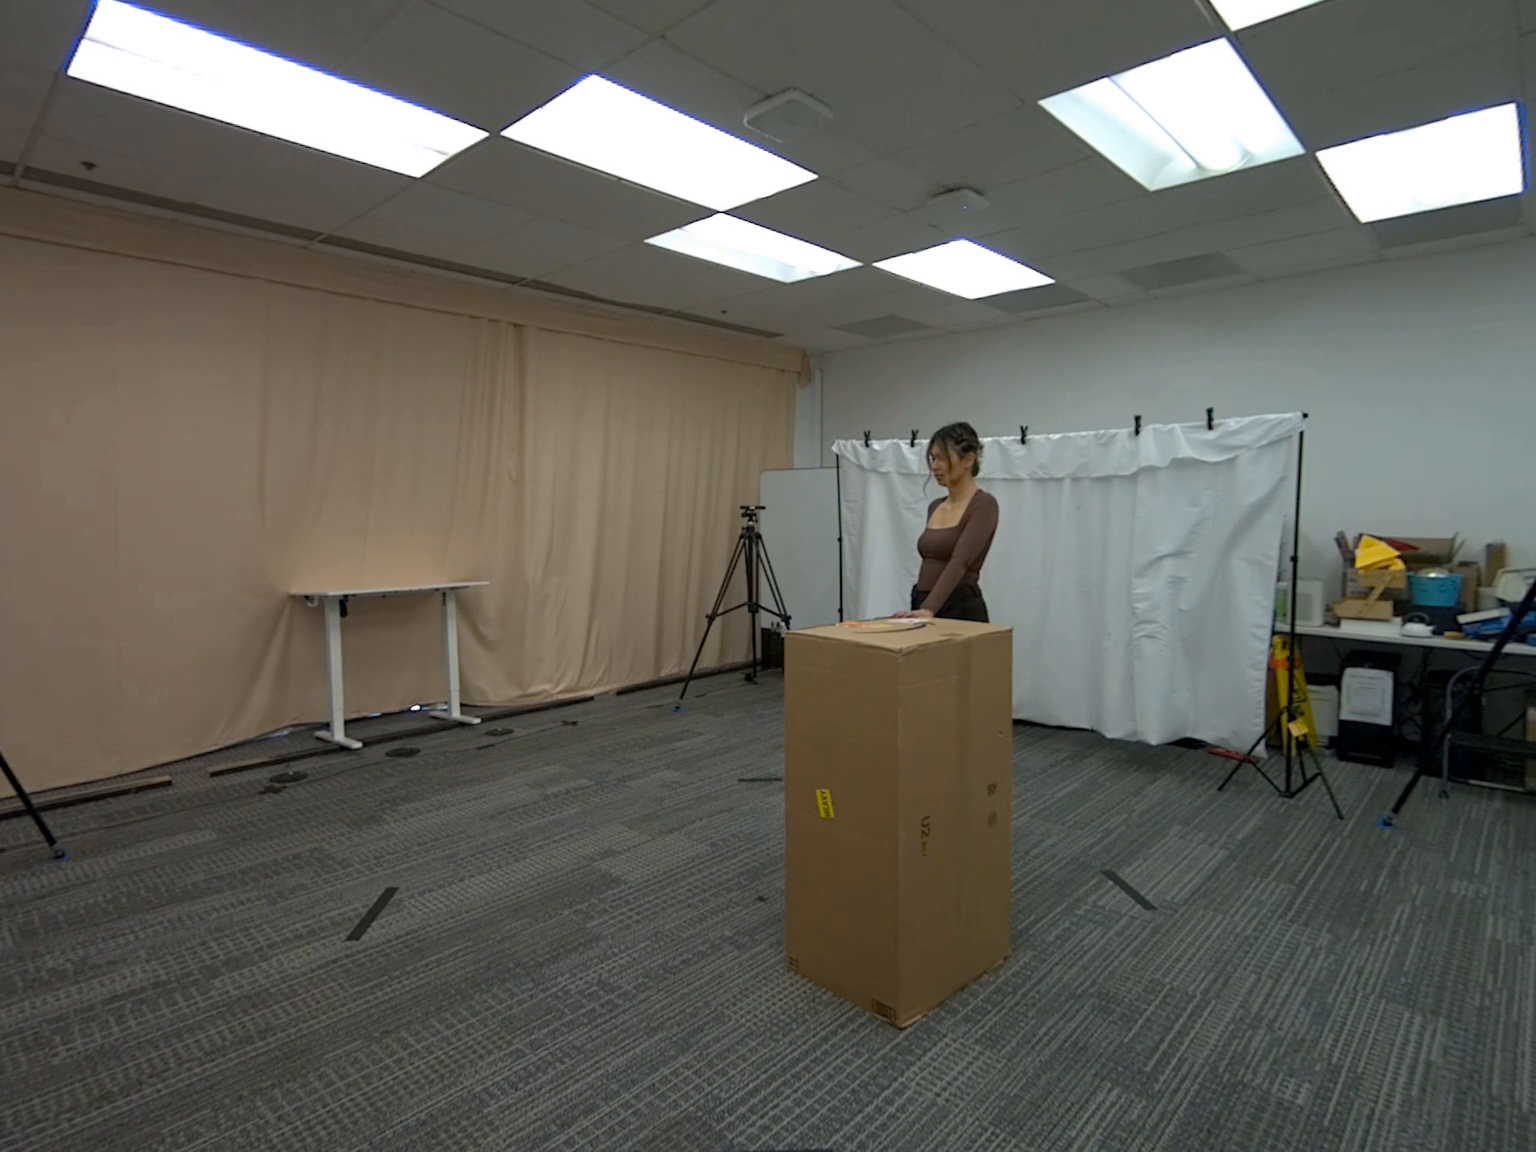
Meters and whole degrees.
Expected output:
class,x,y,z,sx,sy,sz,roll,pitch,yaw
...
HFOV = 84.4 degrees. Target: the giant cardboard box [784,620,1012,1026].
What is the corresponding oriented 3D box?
class,x,y,z,sx,sy,sz,roll,pitch,yaw
giant cardboard box,0.404,0.670,2.553,0.566,1.025,0.461,-3,3,-41
